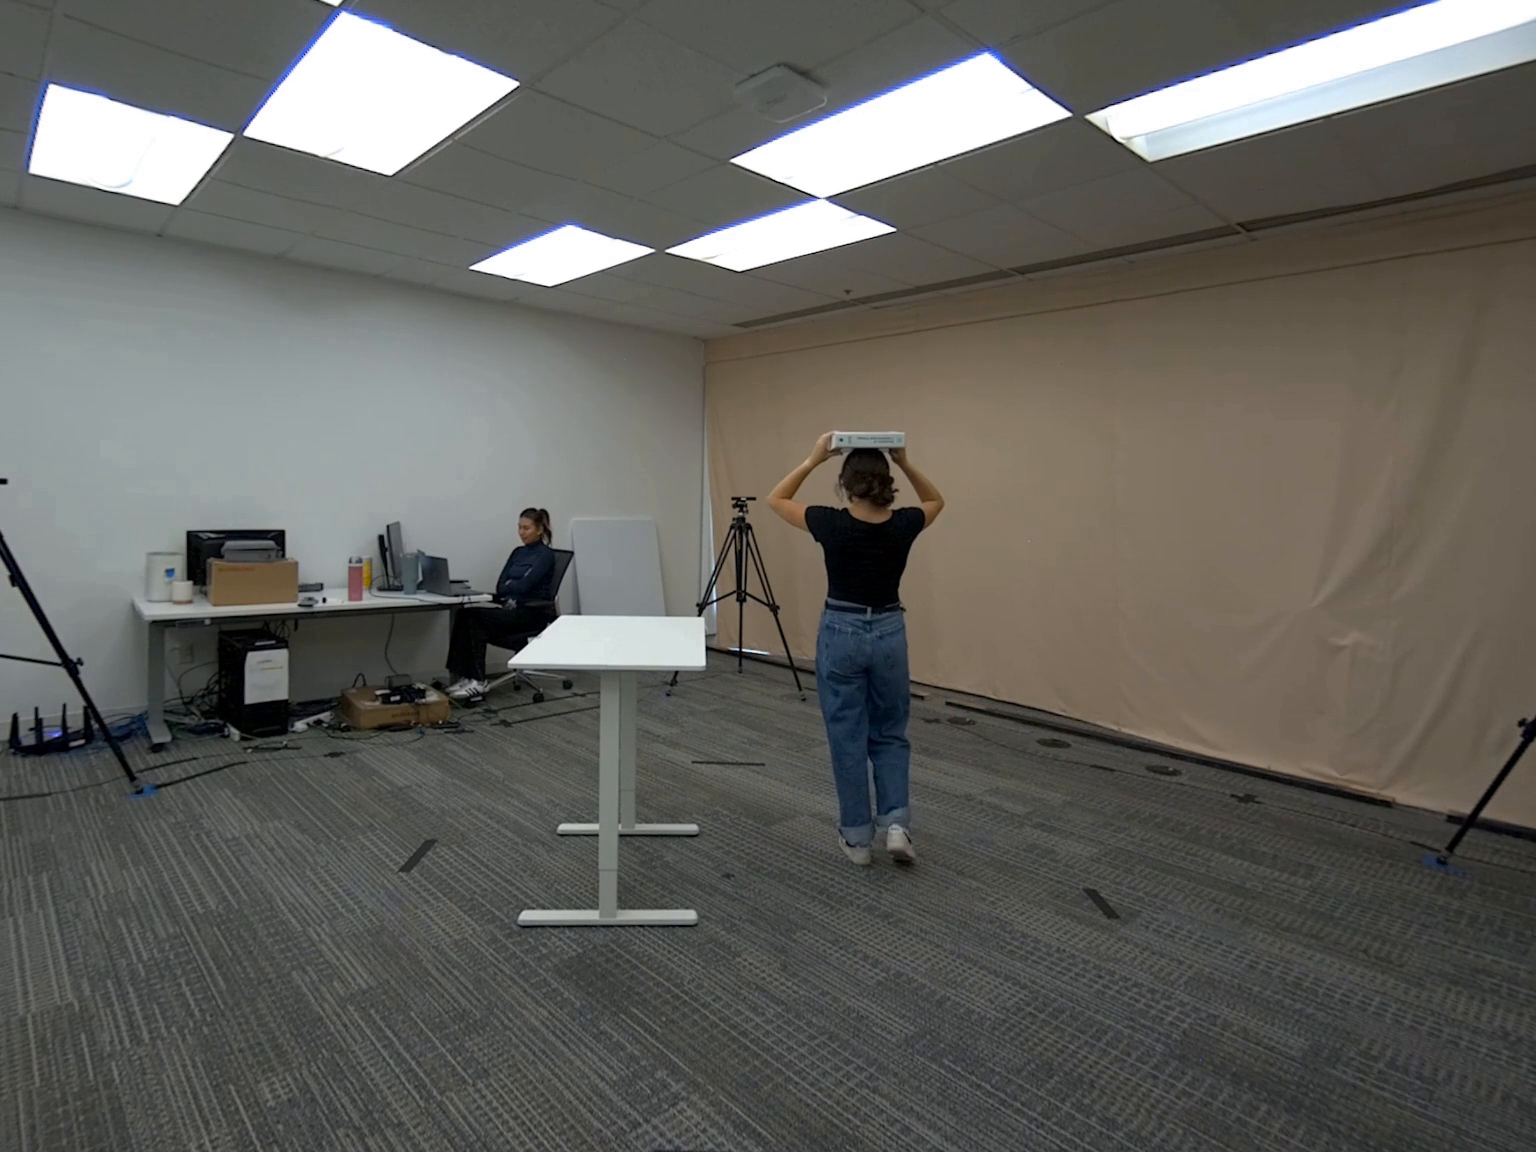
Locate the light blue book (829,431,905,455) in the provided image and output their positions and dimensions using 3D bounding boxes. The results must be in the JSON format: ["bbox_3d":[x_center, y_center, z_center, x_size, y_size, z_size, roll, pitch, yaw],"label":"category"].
[{"bbox_3d":[0.362,-0.512,3.196,0.260,0.059,0.192,0,3,-2],"label":"light blue book"}]
